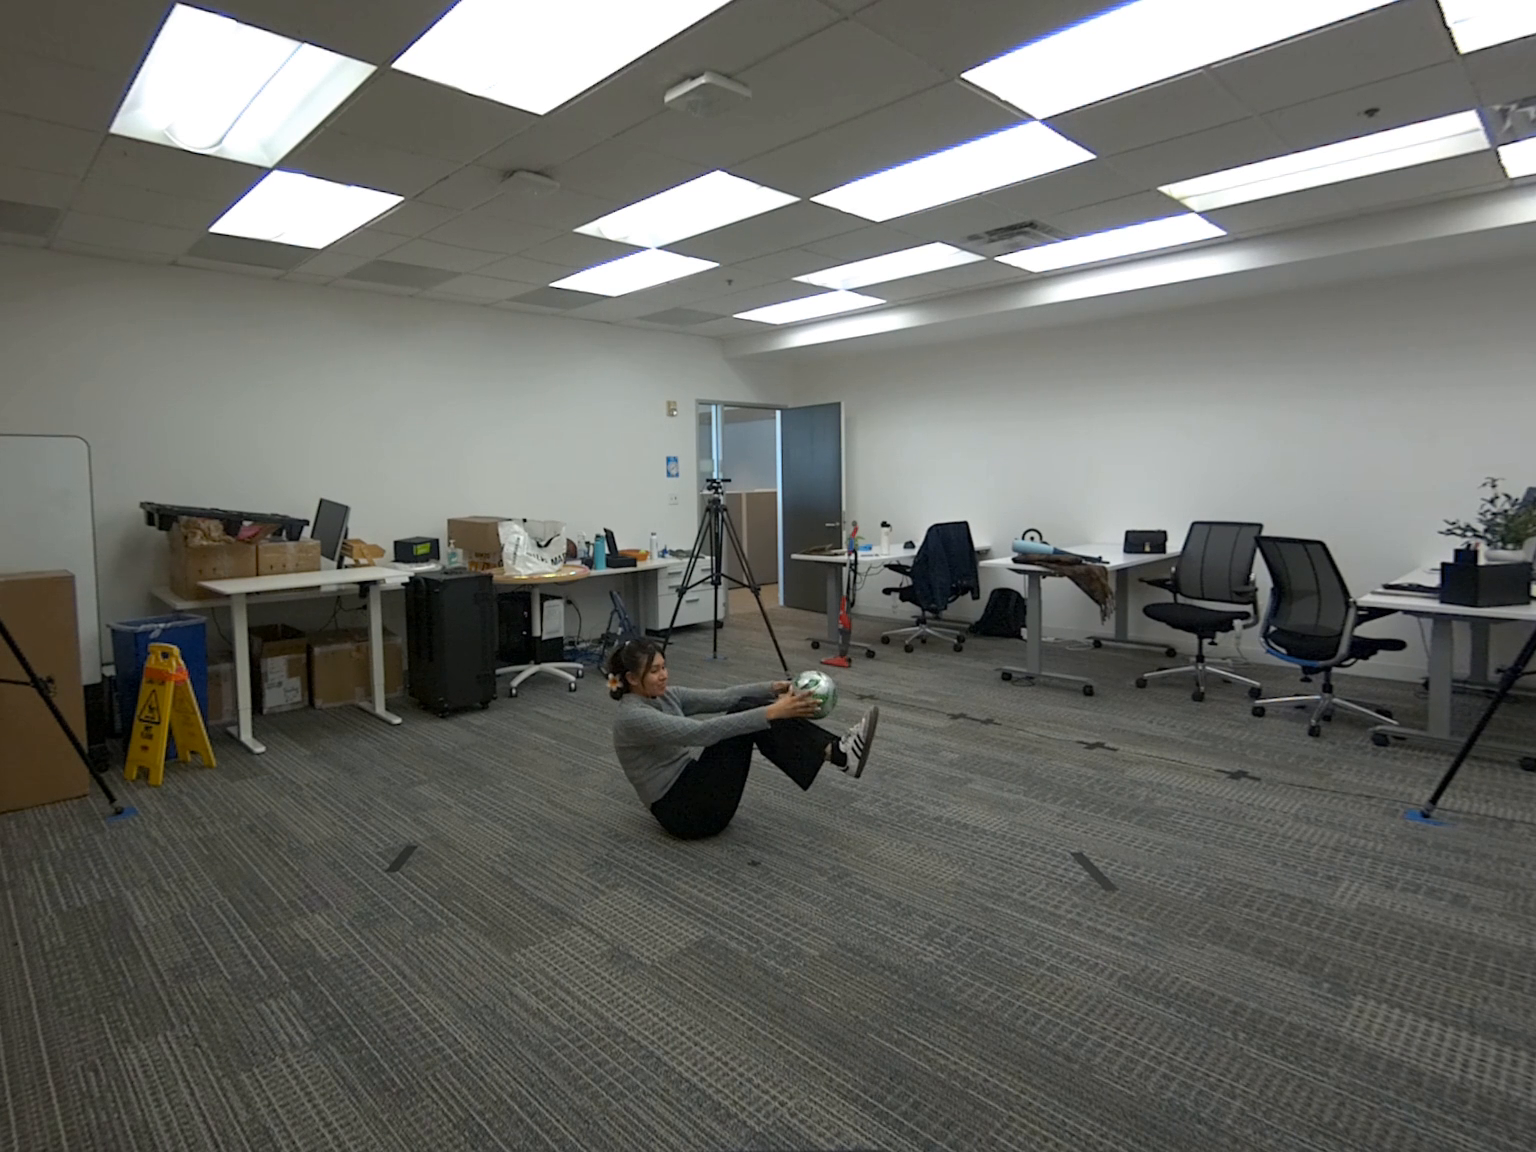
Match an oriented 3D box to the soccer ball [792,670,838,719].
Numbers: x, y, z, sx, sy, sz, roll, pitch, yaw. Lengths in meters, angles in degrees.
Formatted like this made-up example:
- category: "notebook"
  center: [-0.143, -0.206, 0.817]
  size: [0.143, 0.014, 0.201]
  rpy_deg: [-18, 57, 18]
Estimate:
- category: "soccer ball"
  center: [0.168, 0.453, 3.265]
  size: [0.187, 0.187, 0.188]
  rpy_deg: [-1, 5, -2]
